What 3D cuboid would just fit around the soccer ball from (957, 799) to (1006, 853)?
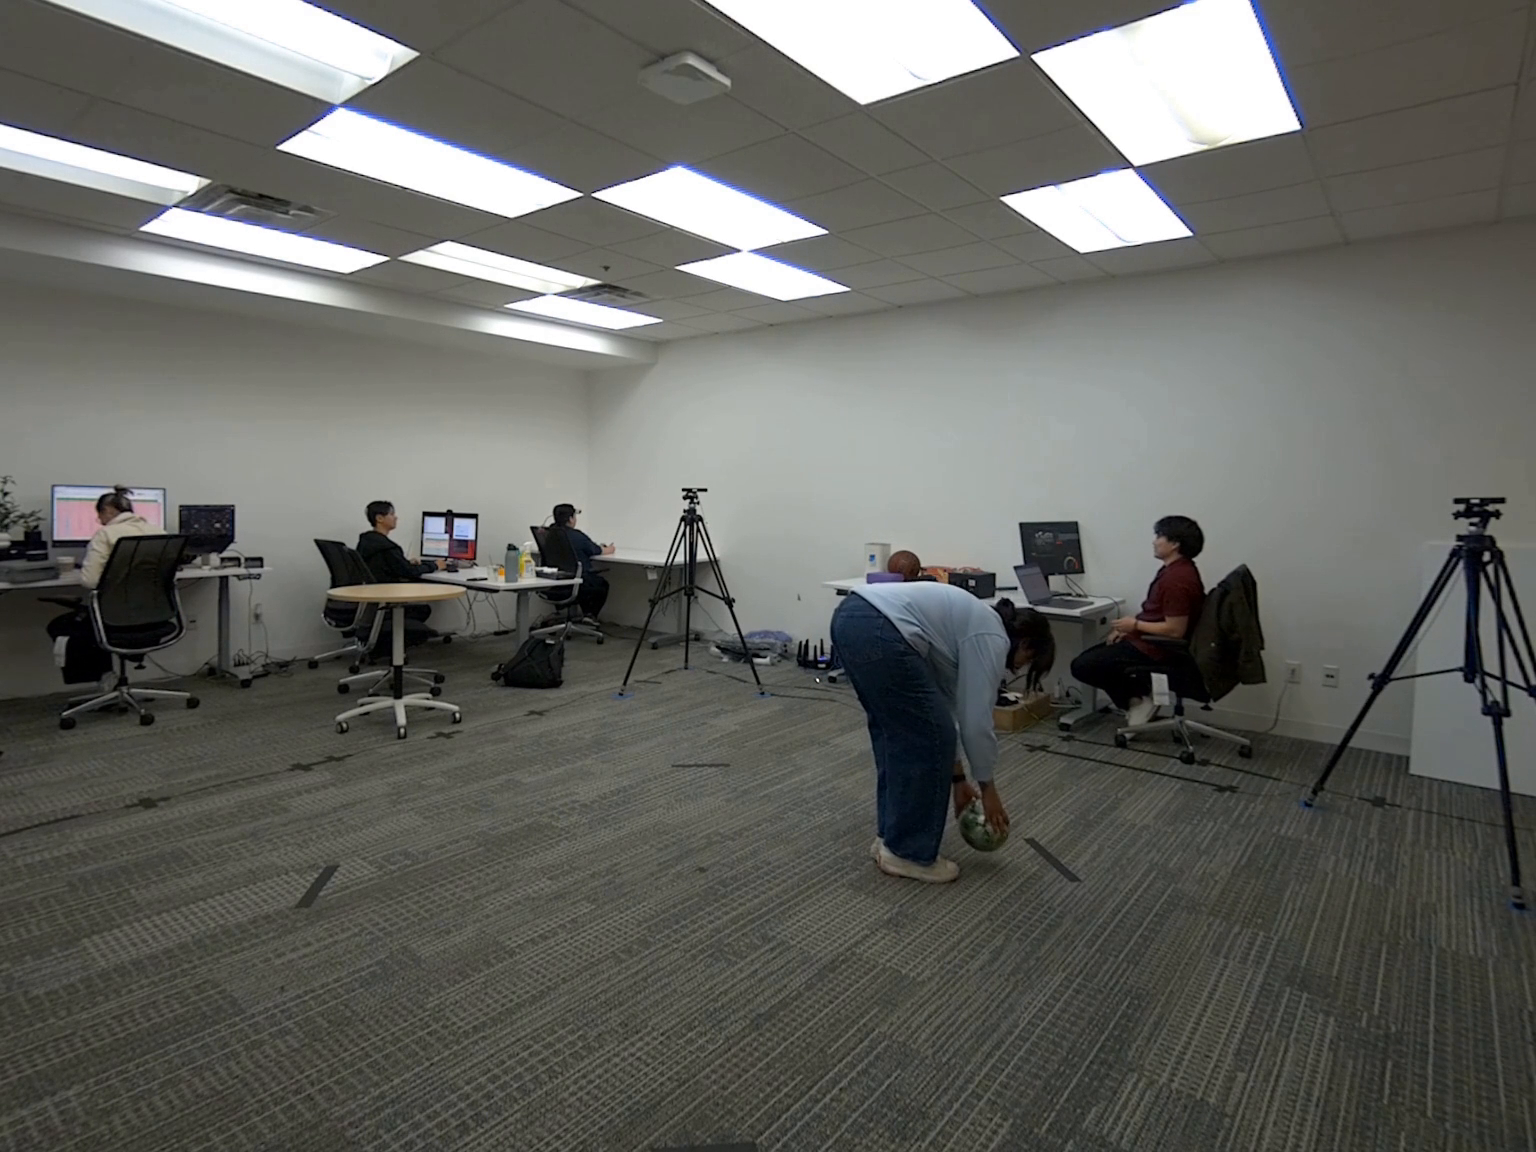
[{"bbox_3d":[0.813,0.926,3.215,0.187,0.187,0.188,1,4,-2],"label":"soccer ball"}]
